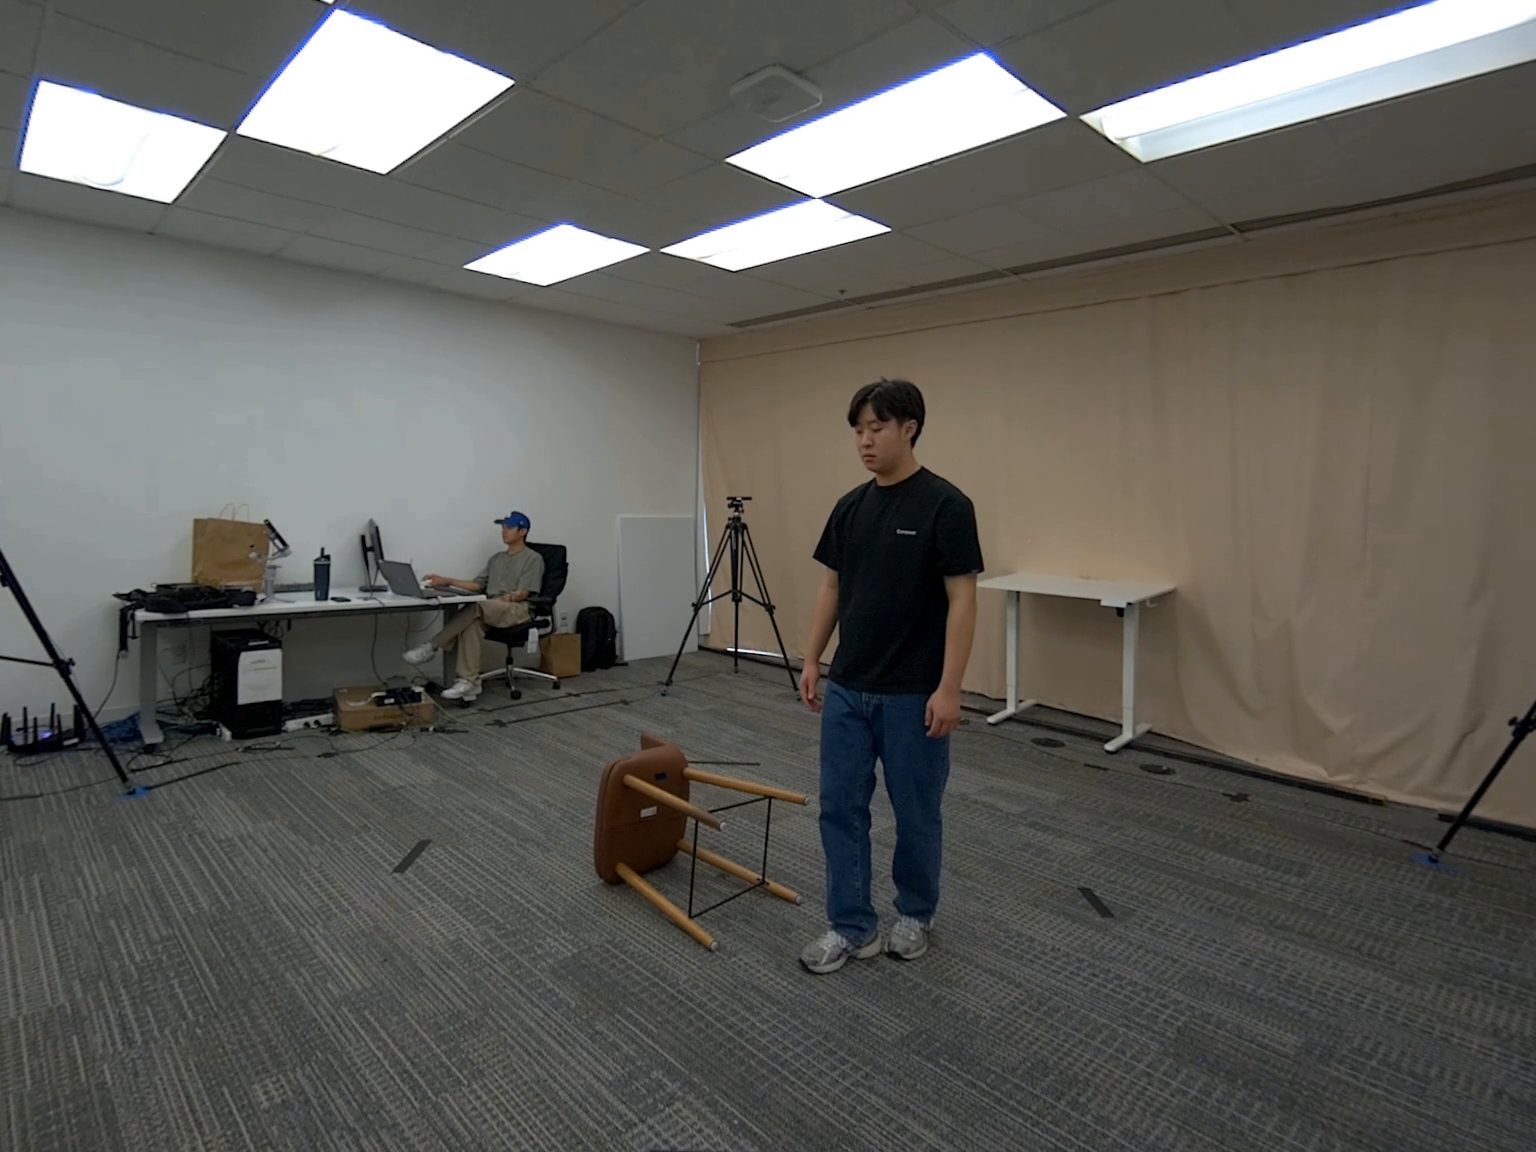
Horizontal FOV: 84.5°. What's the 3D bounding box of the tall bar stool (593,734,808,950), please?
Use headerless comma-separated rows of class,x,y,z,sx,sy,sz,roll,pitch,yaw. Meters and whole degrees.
tall bar stool,-0.346,0.896,3.023,0.914,0.455,0.456,9,7,43
